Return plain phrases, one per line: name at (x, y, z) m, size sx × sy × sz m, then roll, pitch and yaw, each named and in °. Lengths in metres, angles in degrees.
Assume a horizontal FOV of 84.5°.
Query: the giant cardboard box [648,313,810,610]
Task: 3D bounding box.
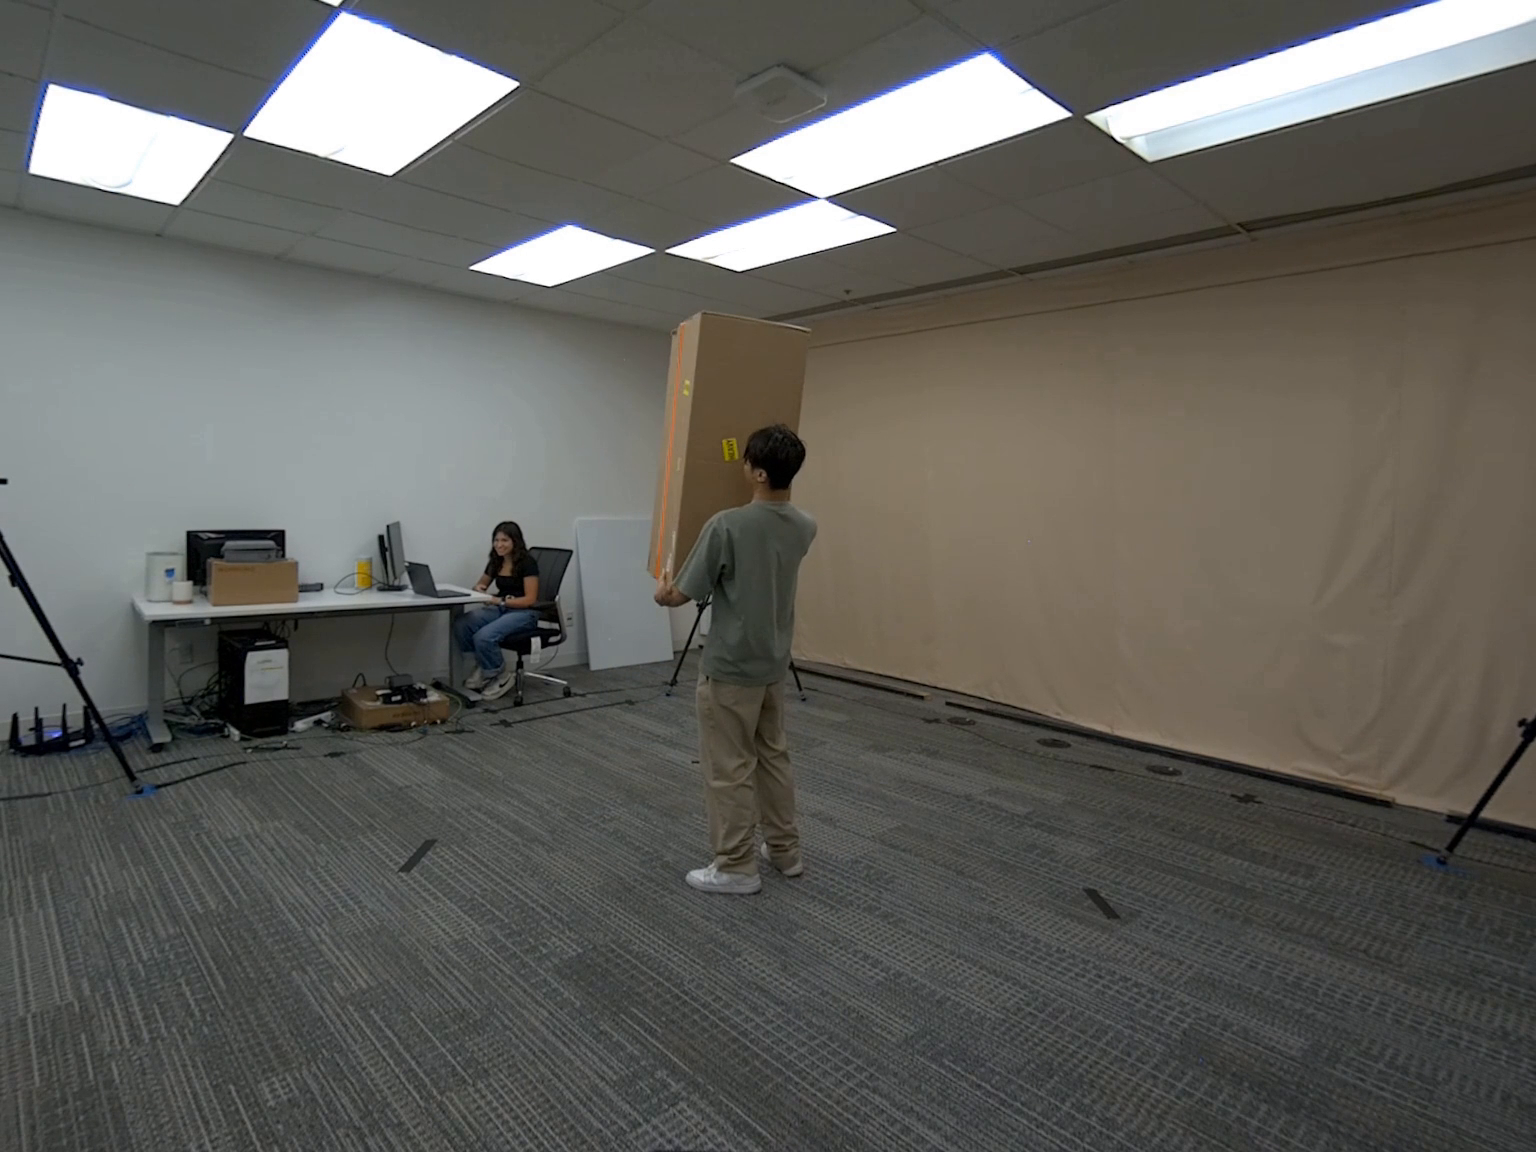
giant cardboard box at (-0.195, -0.467, 3.383) m, size 0.420 × 1.022 × 0.587 m, roll 5°, pitch 5°, yaw -17°
